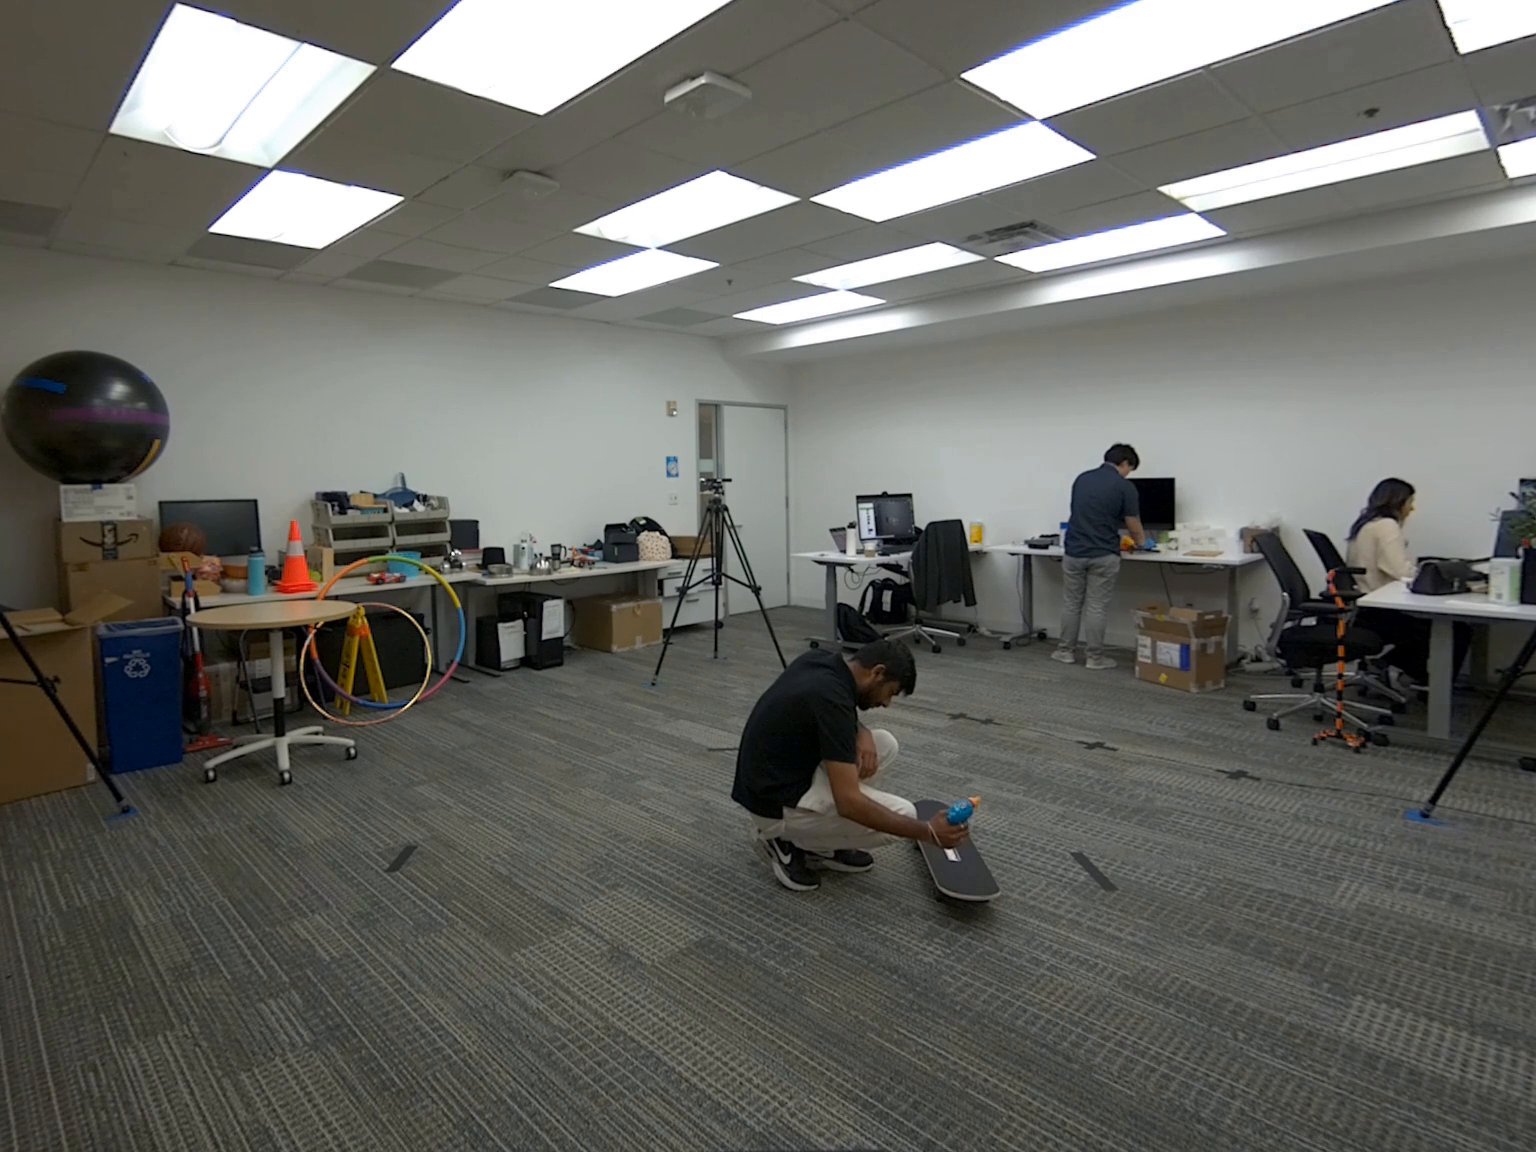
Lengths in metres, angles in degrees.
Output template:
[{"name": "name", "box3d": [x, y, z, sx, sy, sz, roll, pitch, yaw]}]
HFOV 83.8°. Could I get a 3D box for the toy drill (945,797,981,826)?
[{"name": "toy drill", "box3d": [0.614, 0.764, 2.717, 0.166, 0.143, 0.063, -12, 31, -29]}]
